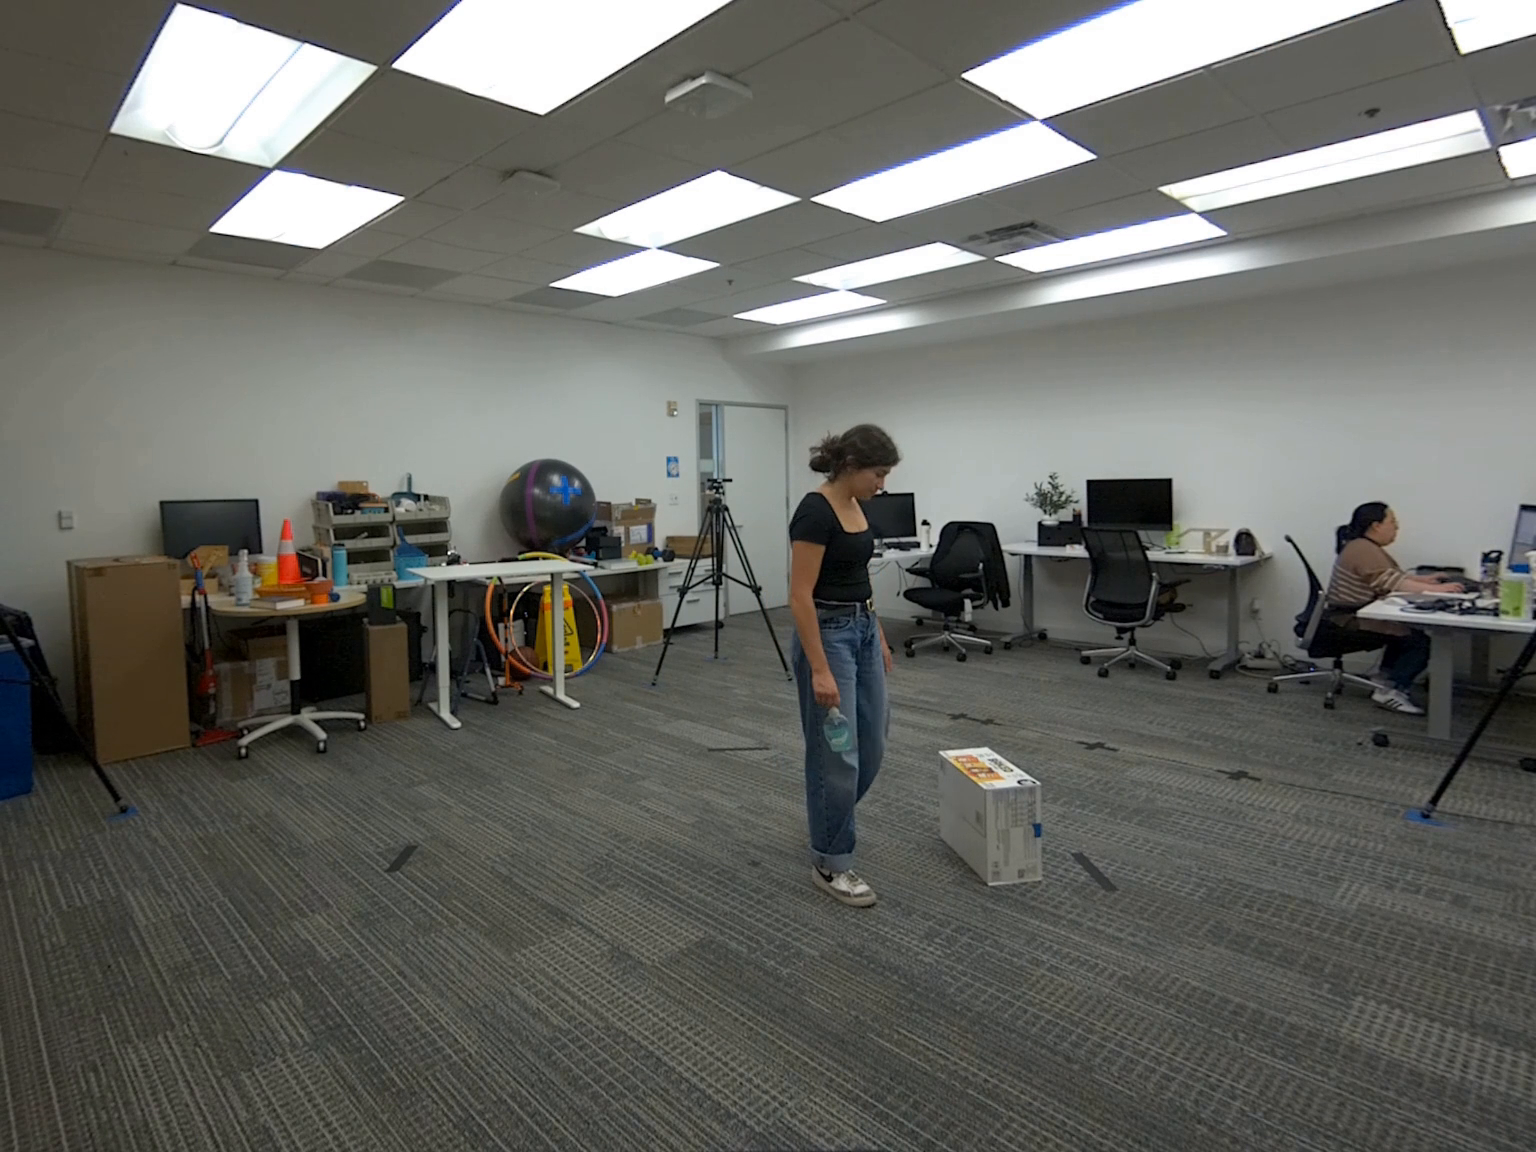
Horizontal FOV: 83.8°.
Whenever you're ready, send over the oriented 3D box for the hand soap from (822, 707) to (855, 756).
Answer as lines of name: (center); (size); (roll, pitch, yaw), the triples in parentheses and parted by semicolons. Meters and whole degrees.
hand soap: (0.219, 0.459, 2.685); (0.085, 0.167, 0.043); (-11, 5, 10)
